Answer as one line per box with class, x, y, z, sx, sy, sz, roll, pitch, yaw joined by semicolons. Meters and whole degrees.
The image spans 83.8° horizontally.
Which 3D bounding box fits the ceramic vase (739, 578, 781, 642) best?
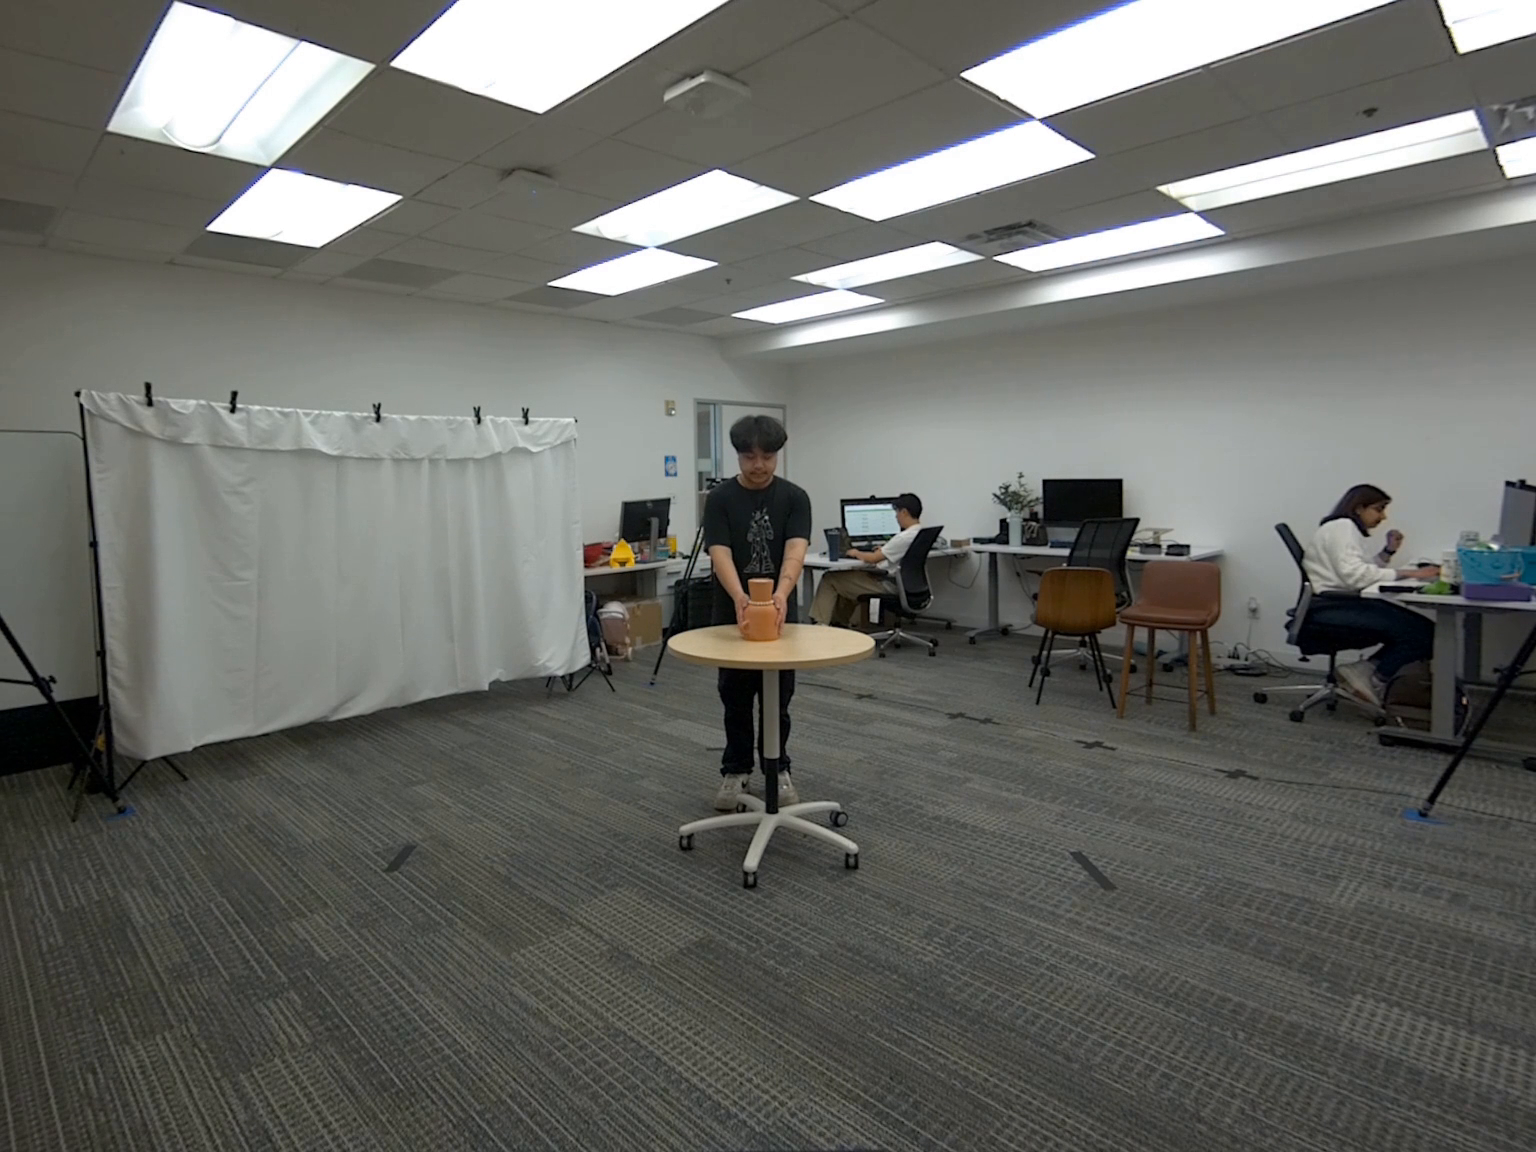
ceramic vase;-0.033;0.126;3.218;0.135;0.219;0.158;-2;4;5
